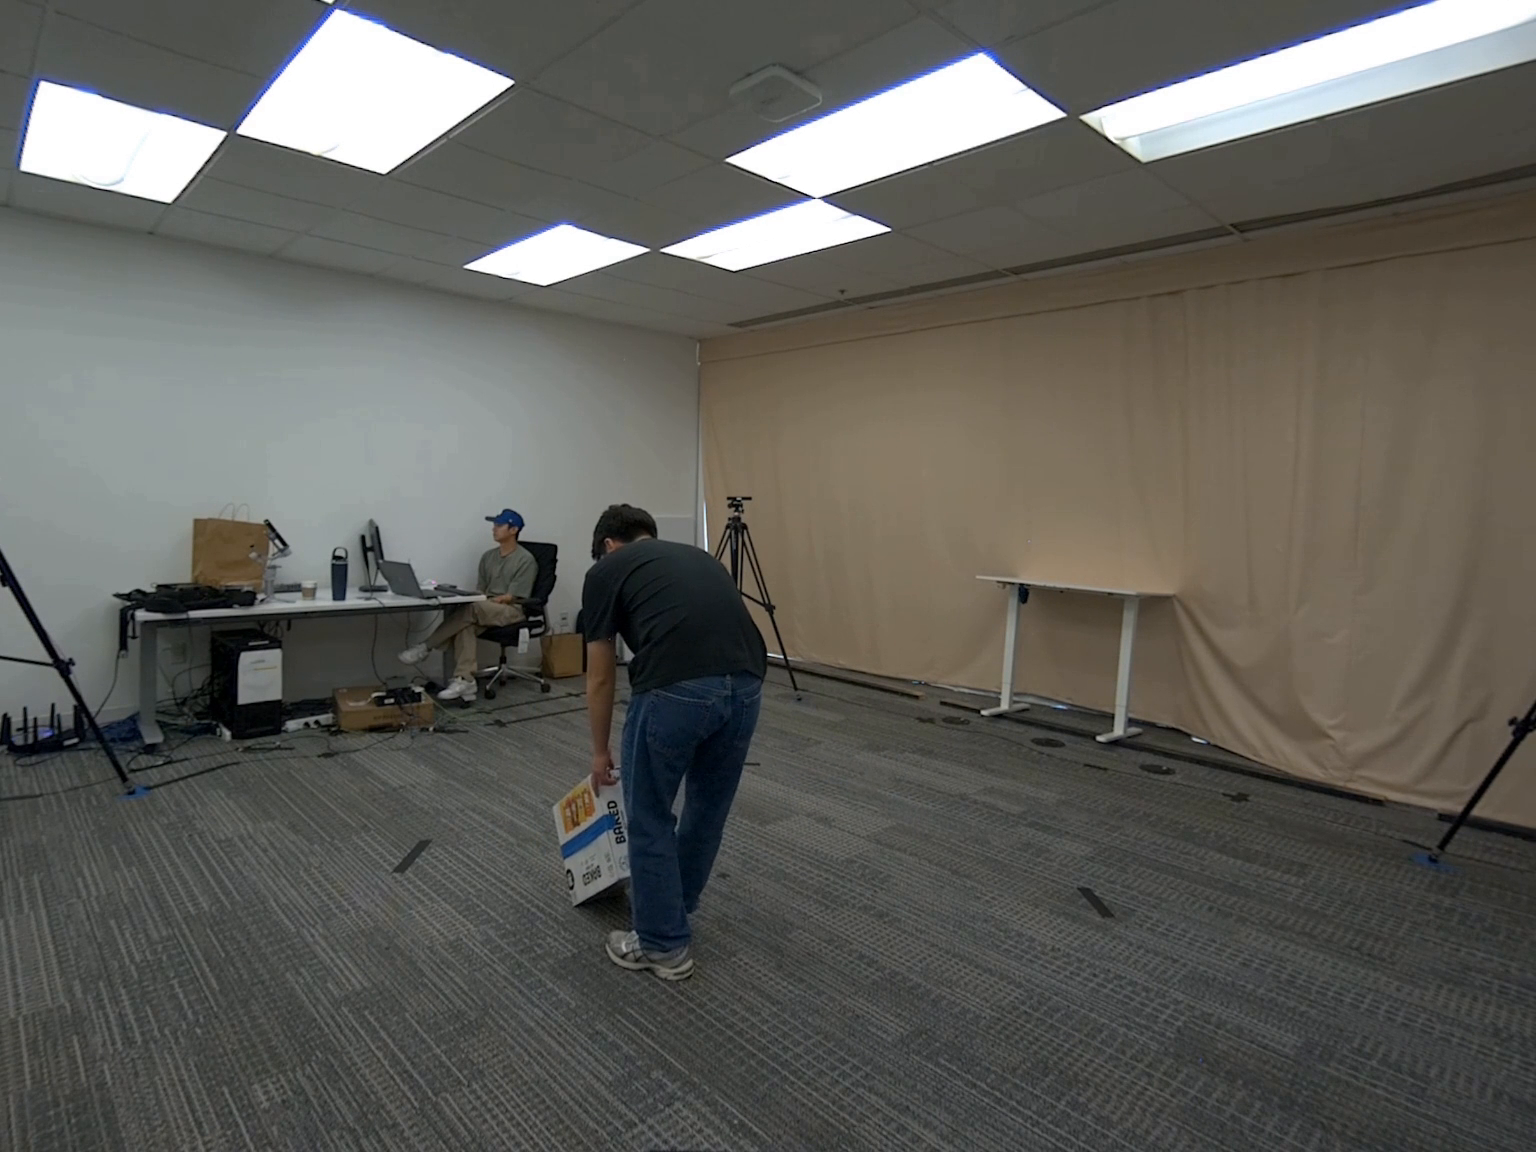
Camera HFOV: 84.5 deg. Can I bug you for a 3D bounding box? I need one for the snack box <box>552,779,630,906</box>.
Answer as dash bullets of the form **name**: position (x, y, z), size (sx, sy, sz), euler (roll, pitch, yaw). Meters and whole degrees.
- **snack box**: position (-0.535, 0.872, 2.828), size (0.201, 0.348, 0.405), euler (-1, -30, -36)
